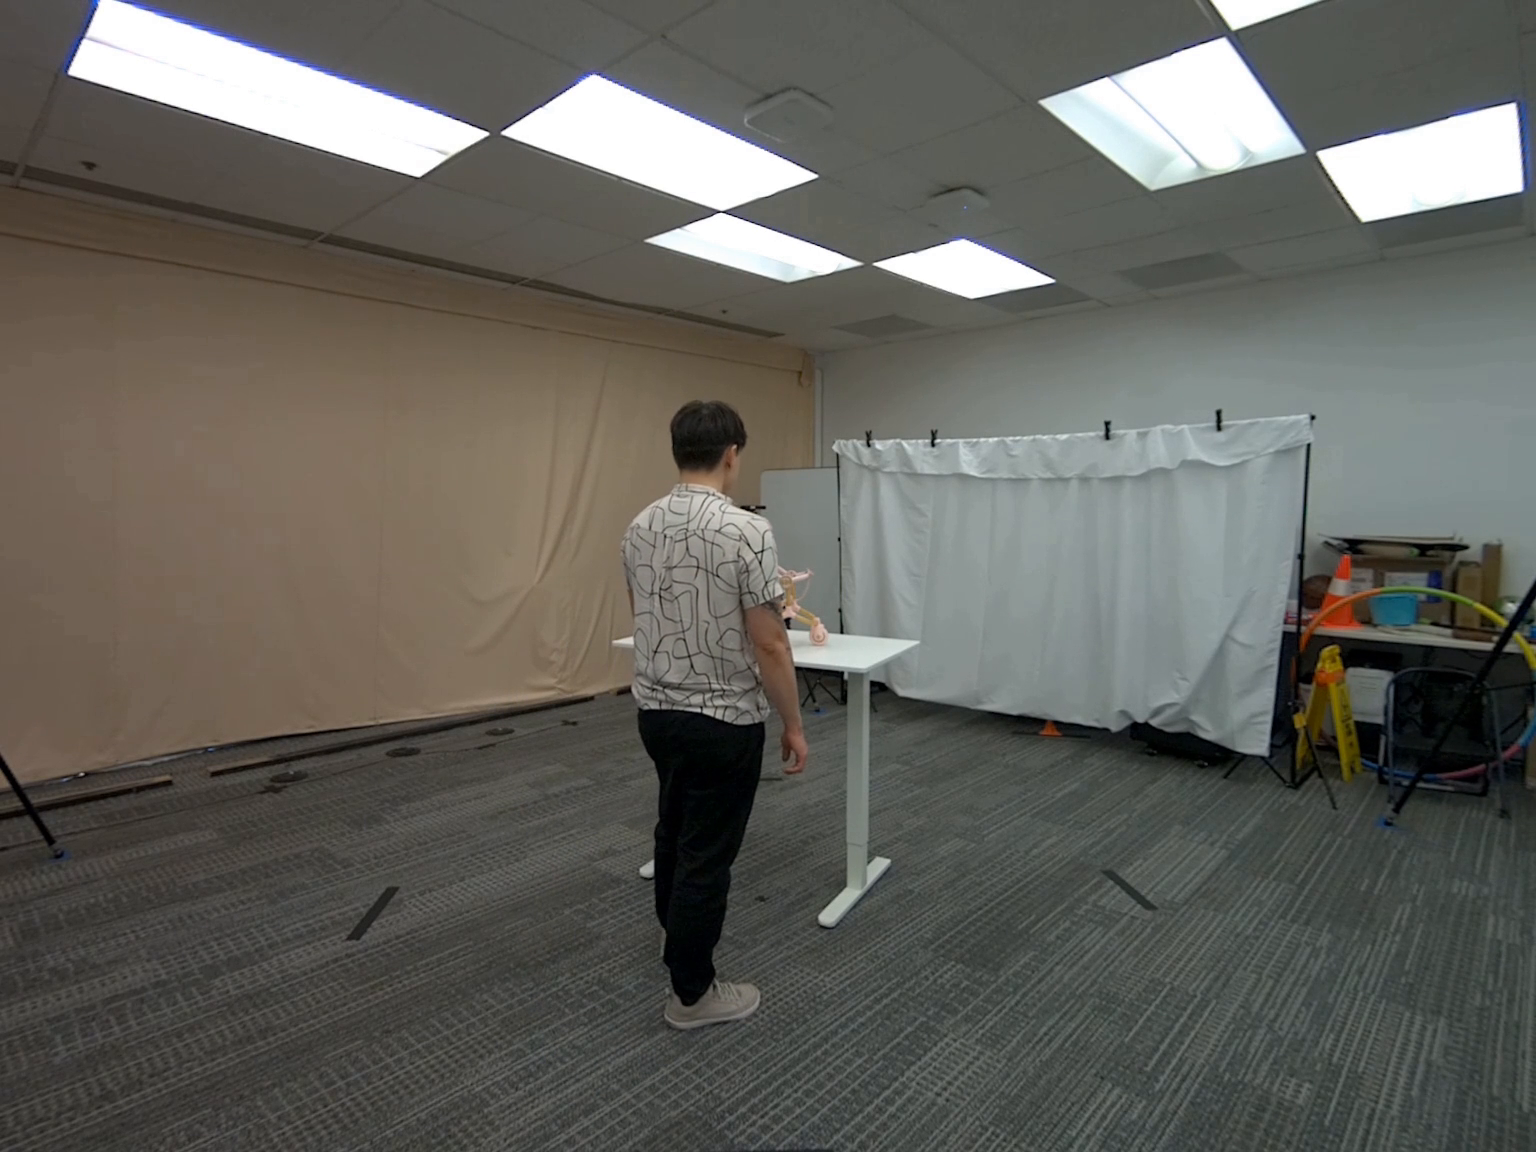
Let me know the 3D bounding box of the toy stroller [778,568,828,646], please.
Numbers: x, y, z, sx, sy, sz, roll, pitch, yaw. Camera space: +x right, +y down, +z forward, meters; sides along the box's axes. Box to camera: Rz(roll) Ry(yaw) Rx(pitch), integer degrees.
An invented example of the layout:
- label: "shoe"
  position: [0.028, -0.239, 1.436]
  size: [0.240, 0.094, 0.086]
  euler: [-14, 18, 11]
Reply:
- label: "toy stroller"
  position: [0.008, 0.027, 3.097]
  size: [0.346, 0.535, 0.278]
  euler: [-14, 0, 15]
